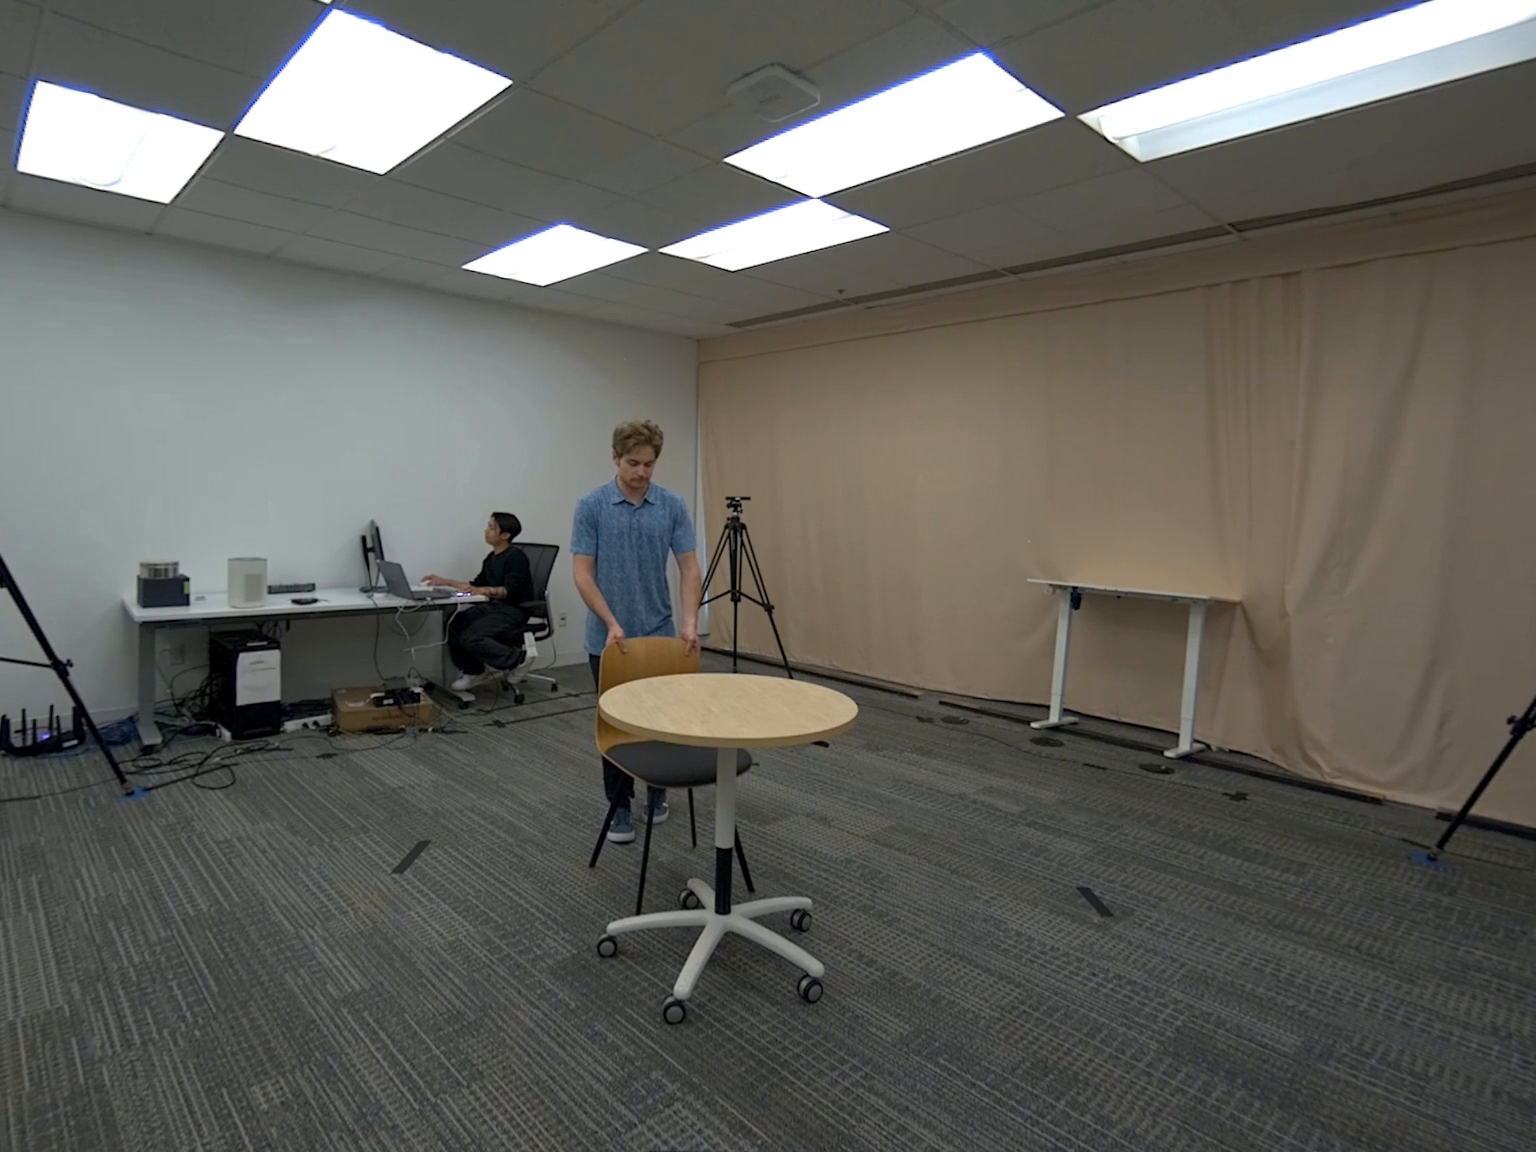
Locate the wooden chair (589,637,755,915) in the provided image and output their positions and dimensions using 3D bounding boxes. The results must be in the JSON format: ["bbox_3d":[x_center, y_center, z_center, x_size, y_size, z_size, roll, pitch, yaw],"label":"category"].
[{"bbox_3d":[-0.349,0.682,3.024,0.468,0.878,0.534,-1,0,-31],"label":"wooden chair"}]
